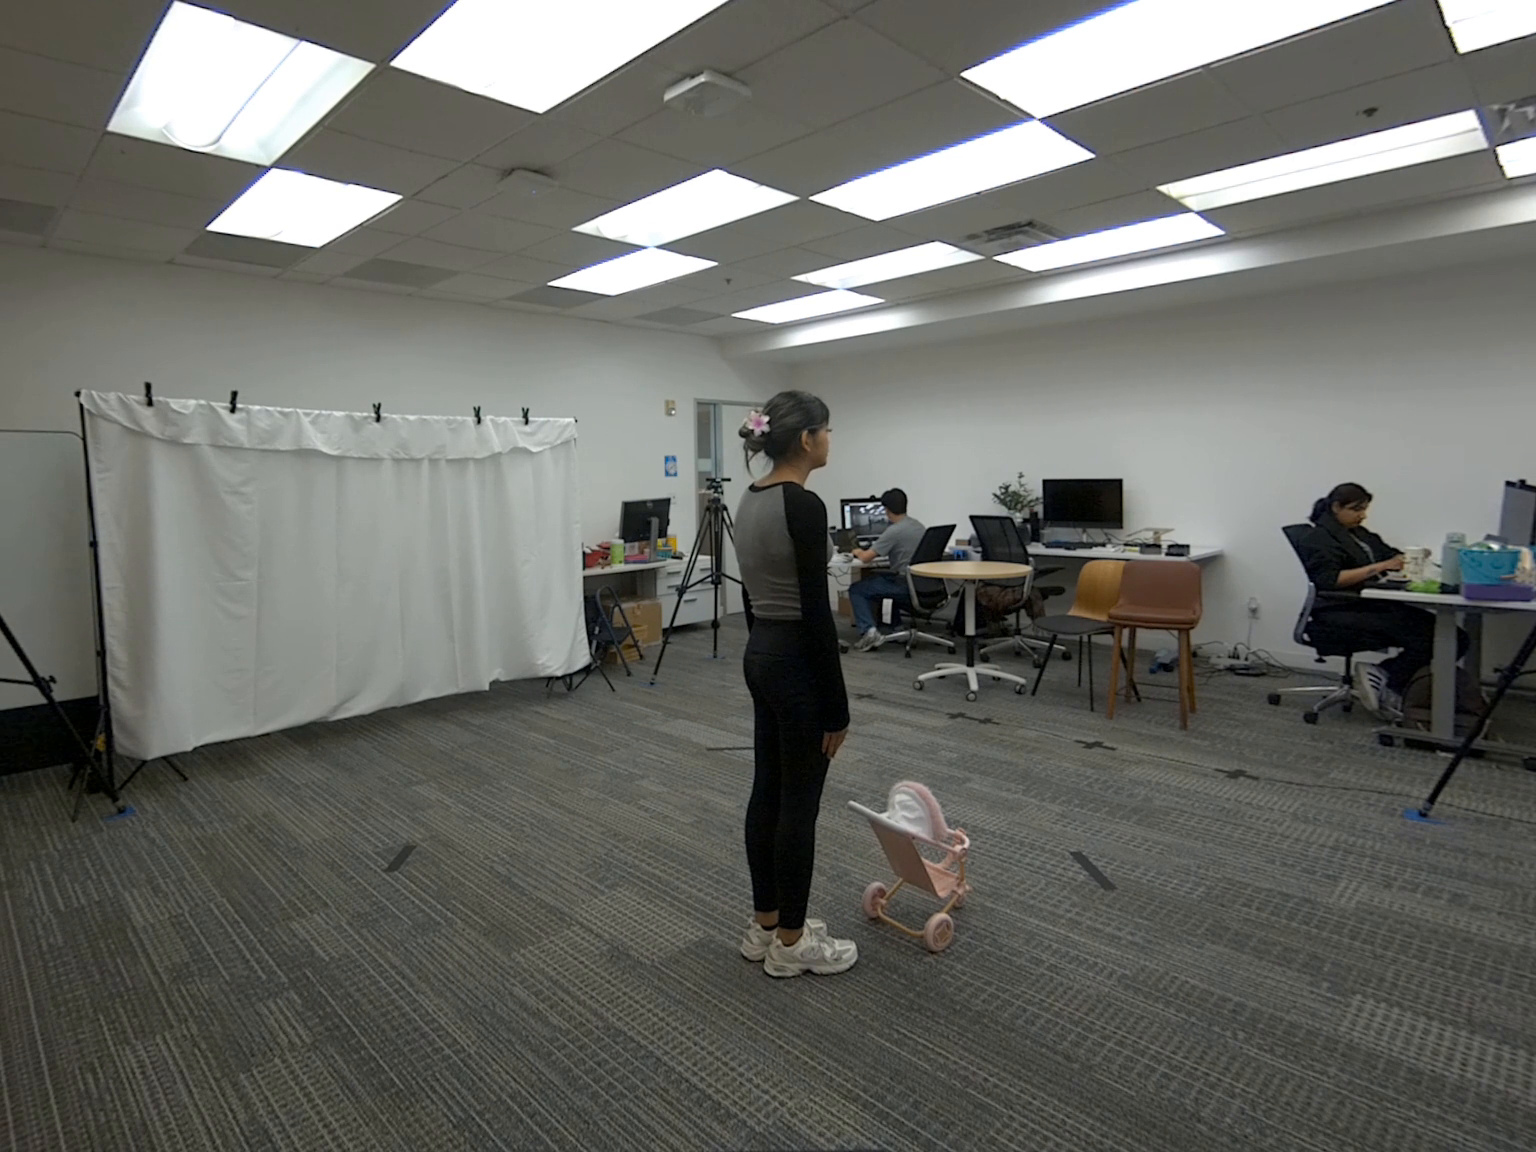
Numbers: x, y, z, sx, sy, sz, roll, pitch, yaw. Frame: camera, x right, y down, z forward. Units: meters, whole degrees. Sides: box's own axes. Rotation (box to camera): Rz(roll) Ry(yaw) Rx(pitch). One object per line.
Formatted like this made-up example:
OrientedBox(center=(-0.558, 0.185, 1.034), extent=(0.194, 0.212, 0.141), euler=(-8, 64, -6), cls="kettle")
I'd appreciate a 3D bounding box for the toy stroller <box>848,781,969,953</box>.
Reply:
OrientedBox(center=(0.476, 0.867, 2.630), extent=(0.336, 0.527, 0.290), euler=(-23, 16, -31), cls="toy stroller")
